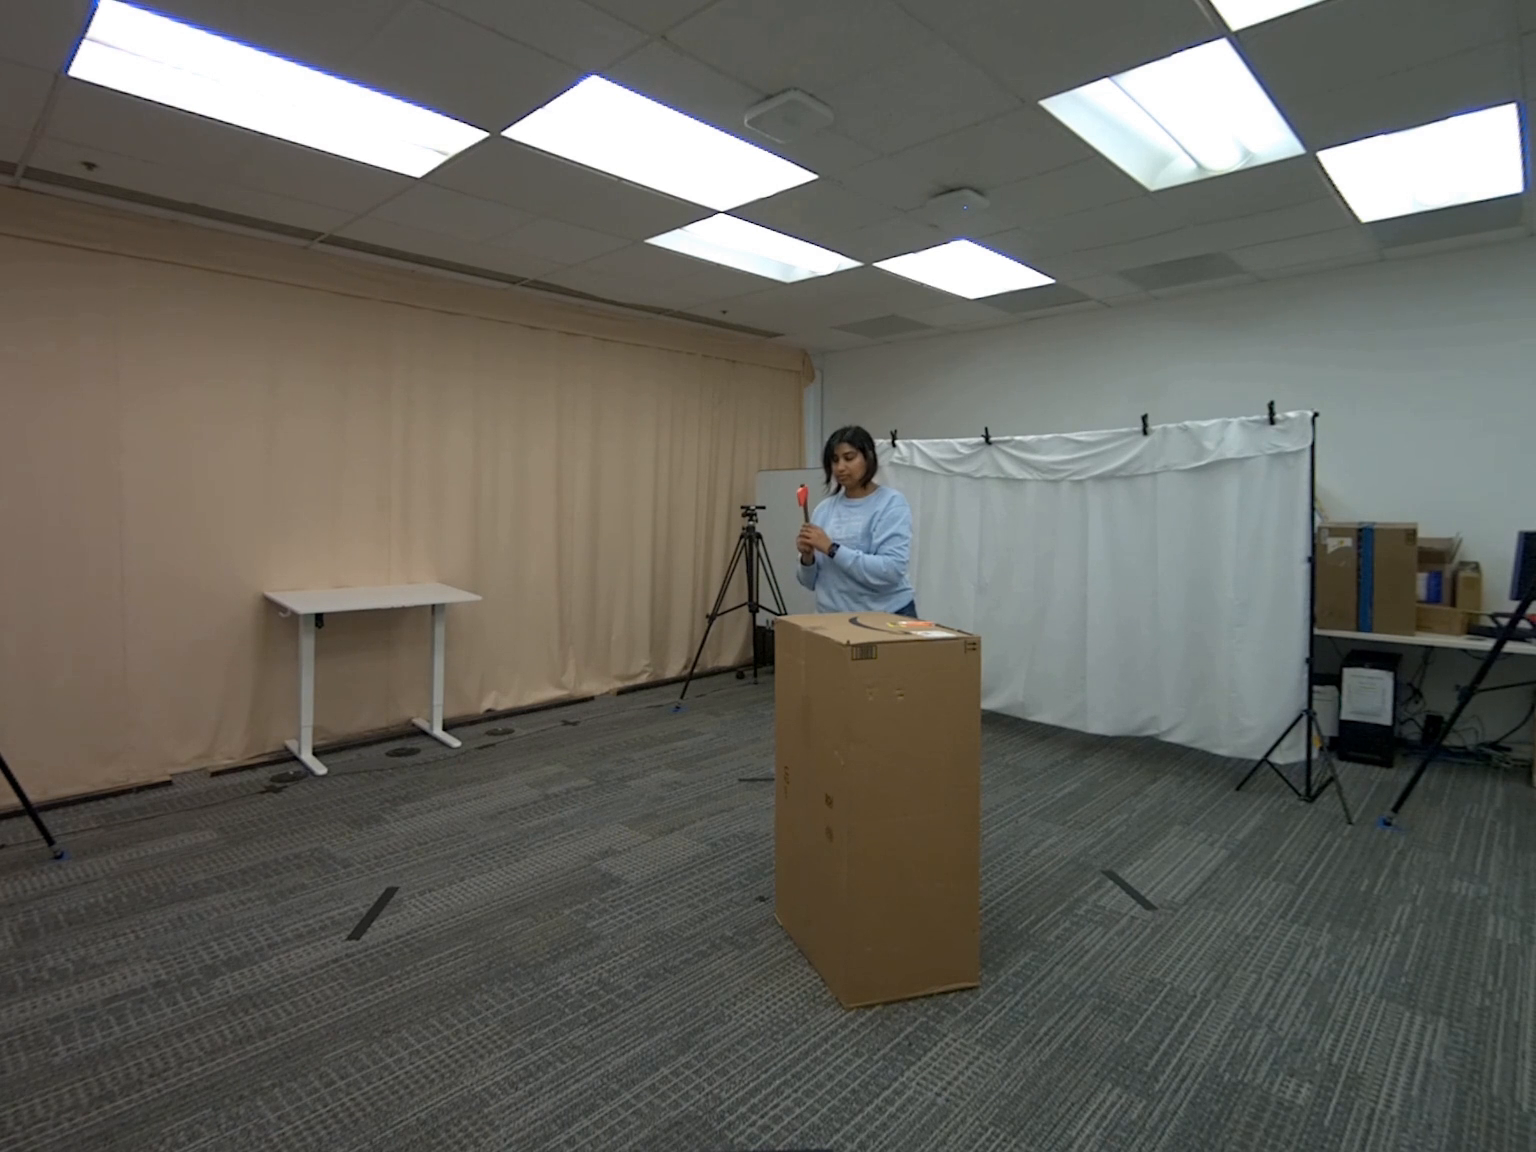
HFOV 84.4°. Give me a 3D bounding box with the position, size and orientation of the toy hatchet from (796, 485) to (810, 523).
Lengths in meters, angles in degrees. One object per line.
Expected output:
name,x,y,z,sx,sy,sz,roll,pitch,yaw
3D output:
toy hatchet,0.152,-0.225,3.285,0.030,0.272,0.128,-6,-9,17
